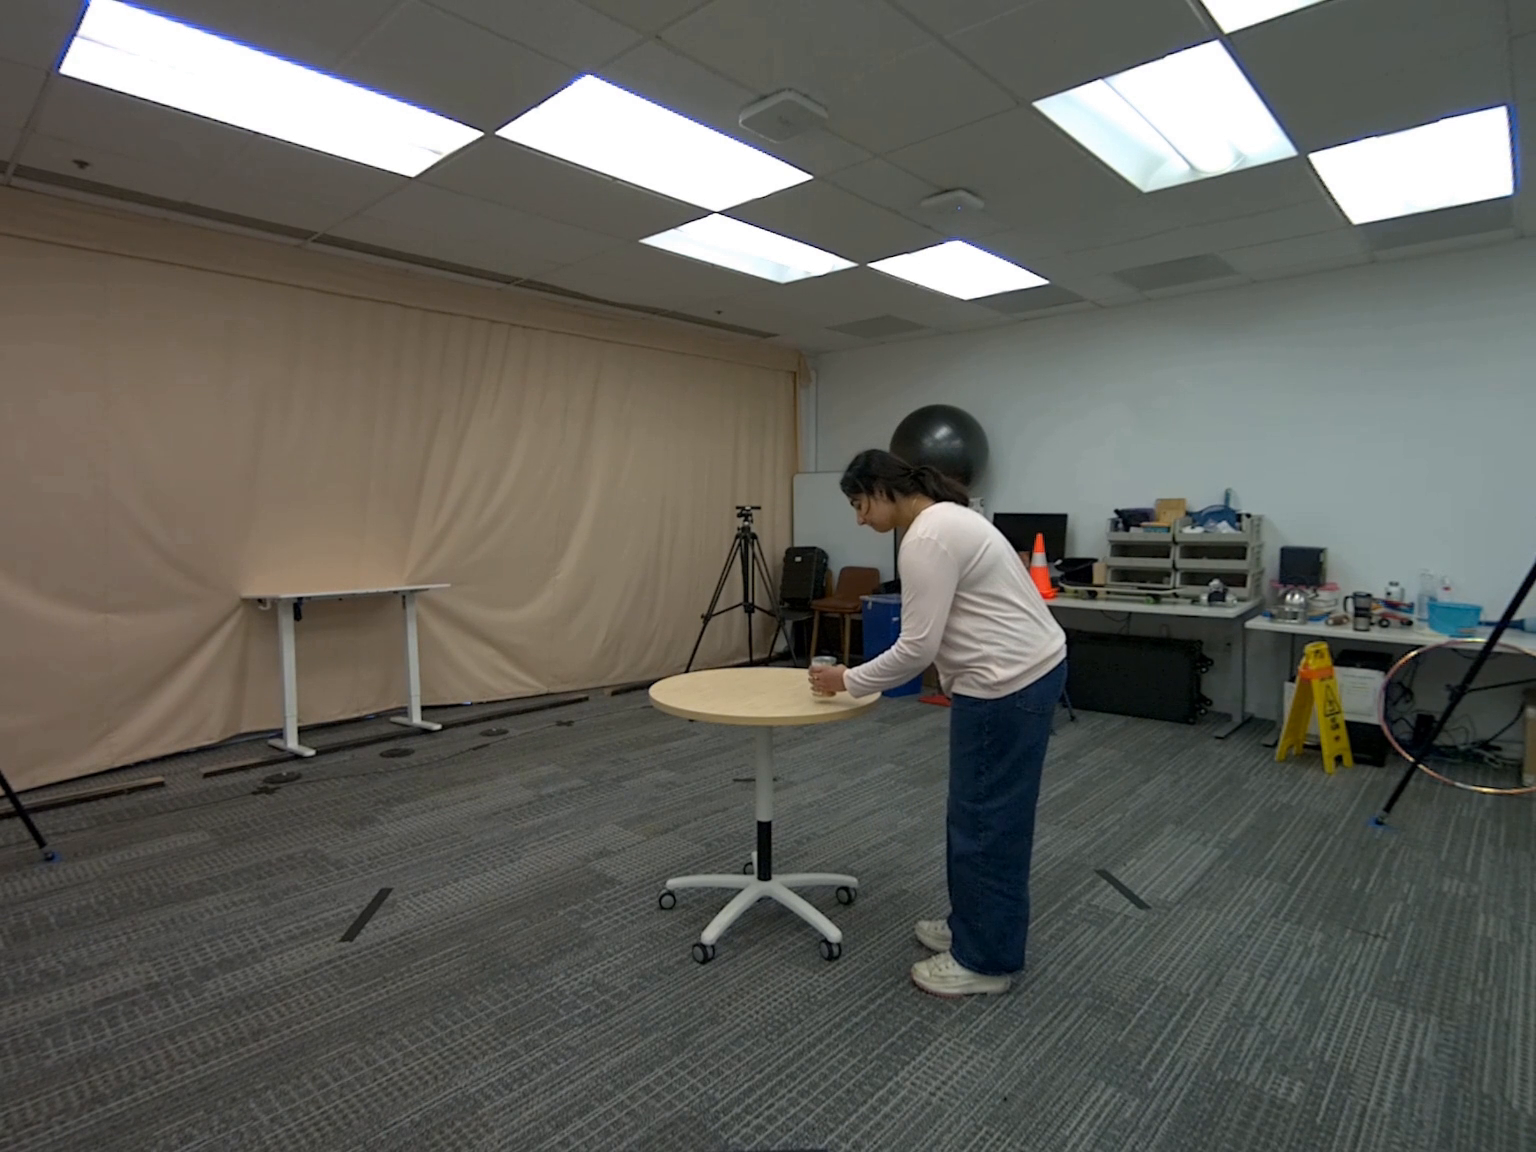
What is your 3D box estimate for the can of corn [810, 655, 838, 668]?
[{"bbox_3d":[0.192,0.317,2.561,0.074,0.111,0.074,2,5,-2],"label":"can of corn"}]
